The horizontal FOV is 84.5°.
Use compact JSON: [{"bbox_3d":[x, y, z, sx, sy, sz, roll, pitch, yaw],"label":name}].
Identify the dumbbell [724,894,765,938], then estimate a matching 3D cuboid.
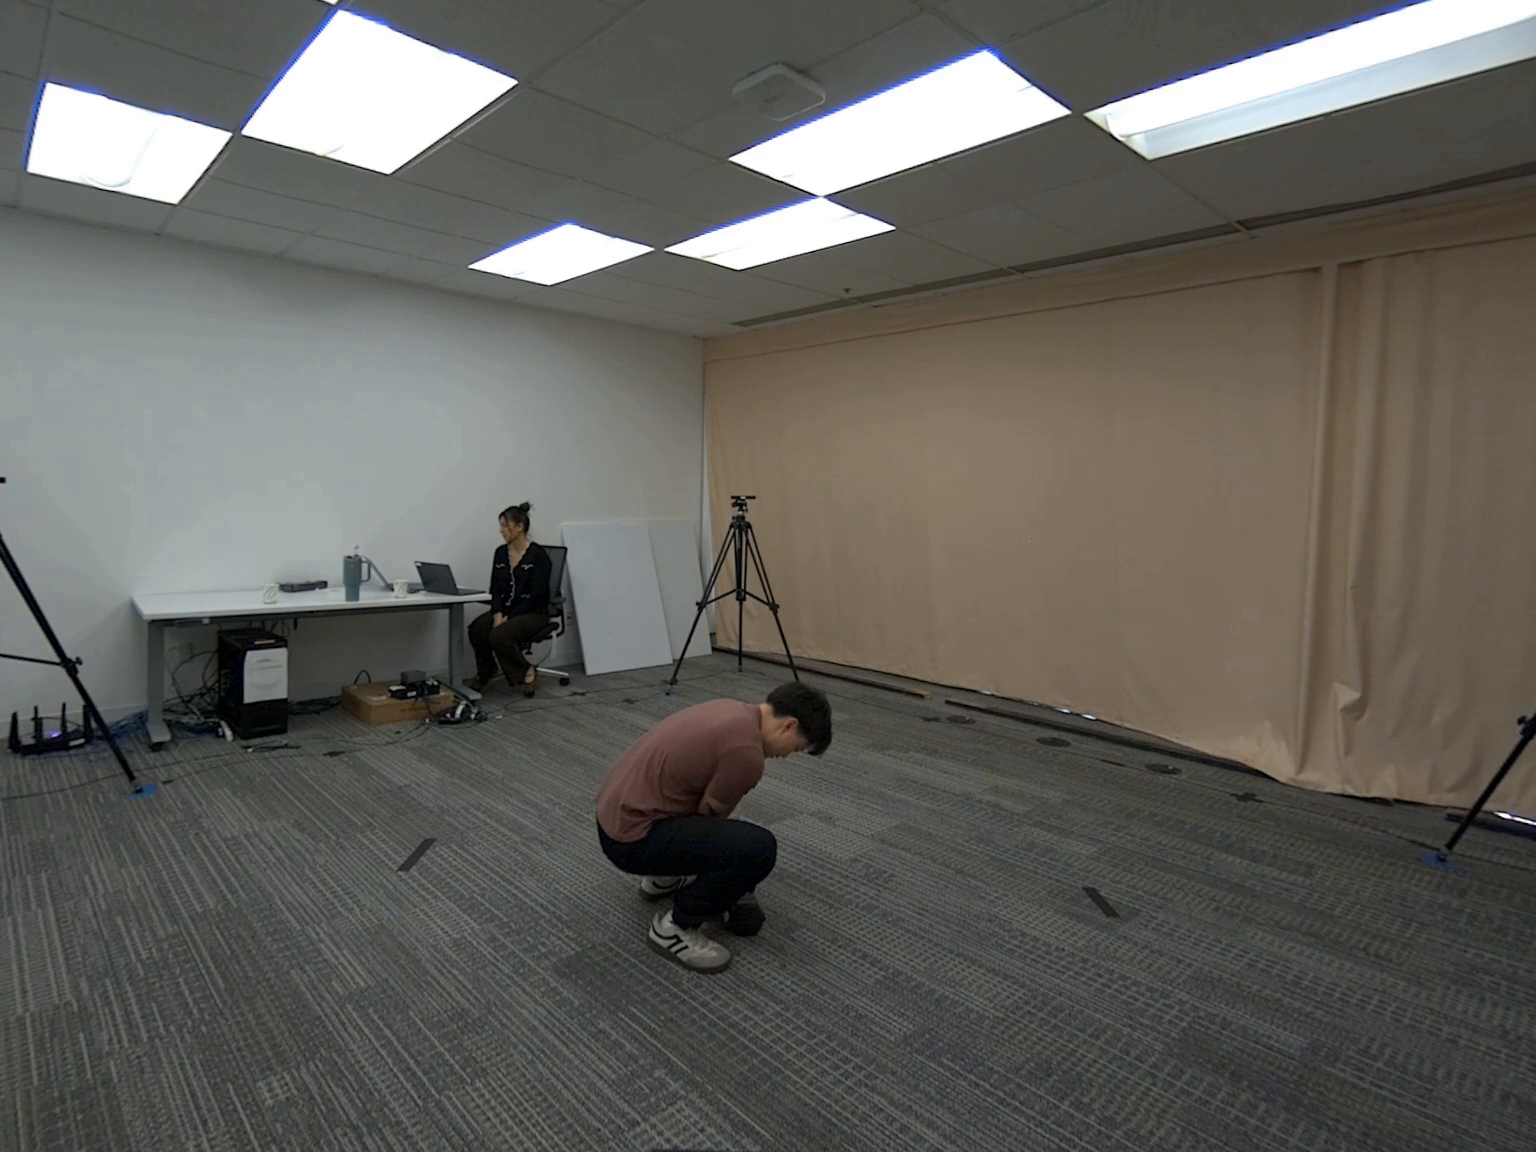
[{"bbox_3d":[-0.097,1.083,2.798,0.108,0.122,0.296,-31,6,-6],"label":"dumbbell"}]
